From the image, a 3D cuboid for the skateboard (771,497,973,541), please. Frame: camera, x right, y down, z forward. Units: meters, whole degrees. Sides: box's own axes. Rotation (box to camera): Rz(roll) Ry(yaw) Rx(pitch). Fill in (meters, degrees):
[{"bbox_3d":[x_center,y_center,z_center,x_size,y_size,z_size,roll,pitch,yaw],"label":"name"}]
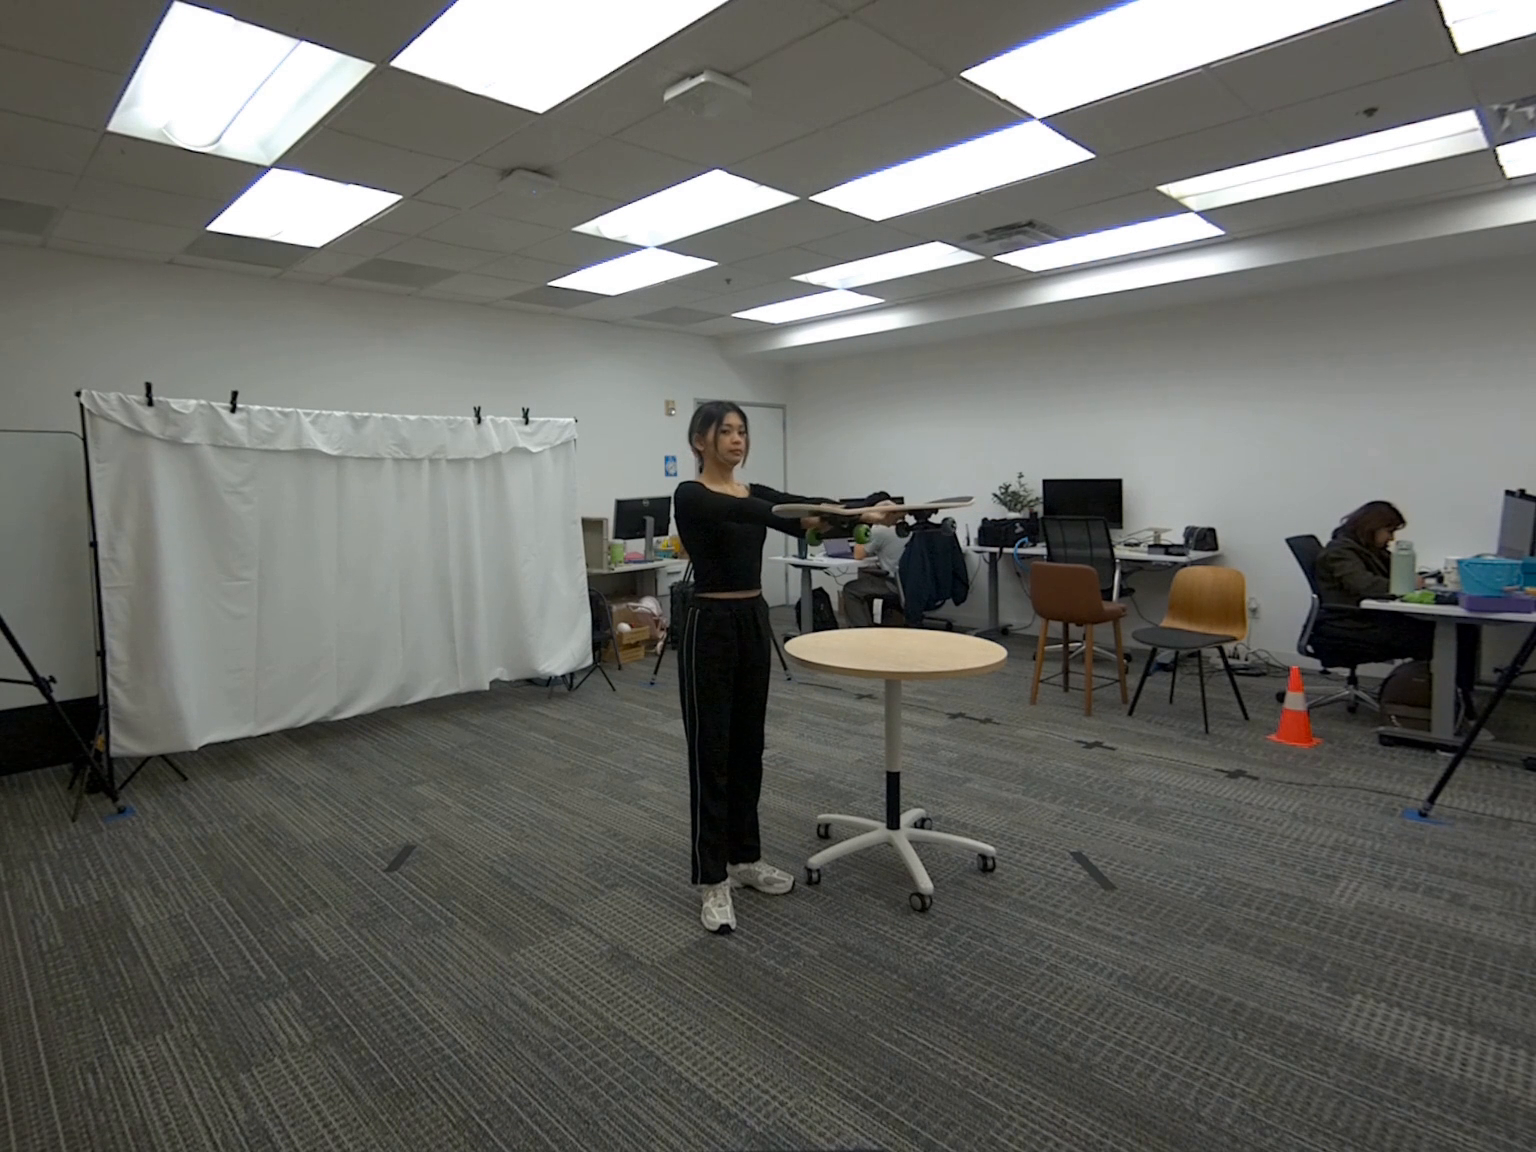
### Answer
[{"bbox_3d":[0.302,-0.151,2.310,0.765,0.110,0.199,-7,3,-44],"label":"skateboard"}]
